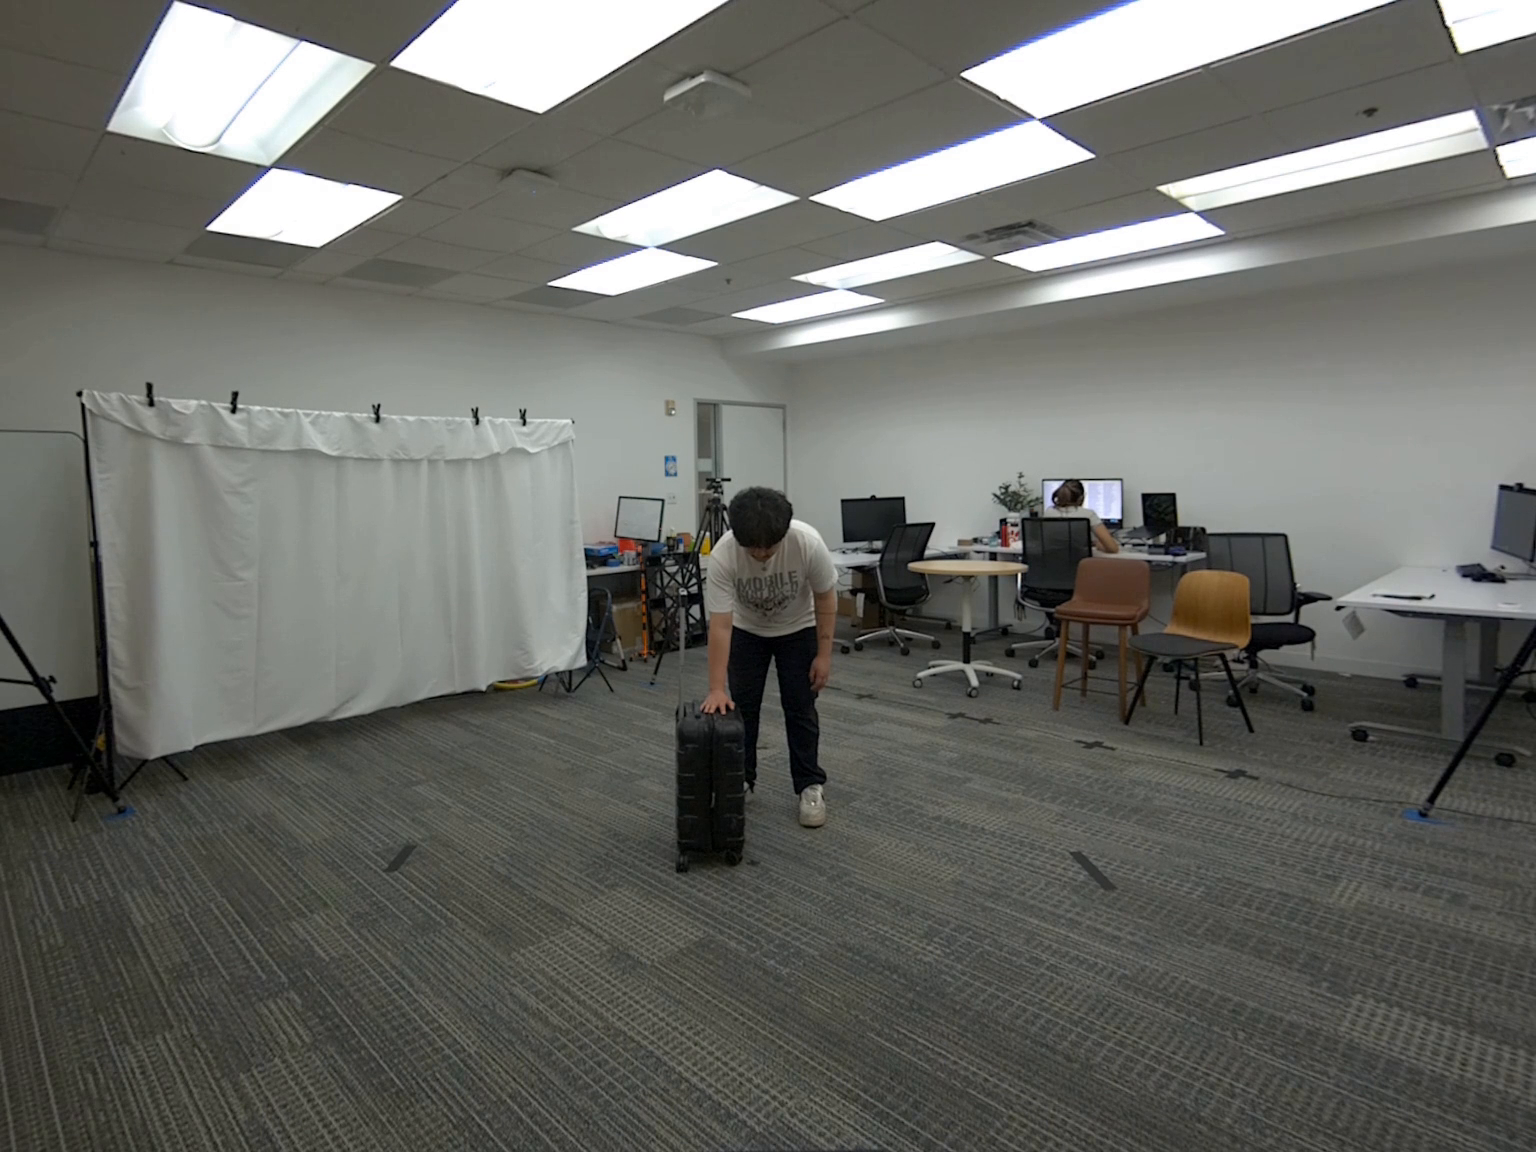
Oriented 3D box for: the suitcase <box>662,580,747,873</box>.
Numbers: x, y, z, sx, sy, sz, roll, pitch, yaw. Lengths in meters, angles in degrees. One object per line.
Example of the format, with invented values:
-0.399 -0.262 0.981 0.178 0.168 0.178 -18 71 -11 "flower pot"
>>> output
-0.219 0.560 3.201 0.256 0.975 0.387 2 4 -5 "suitcase"
